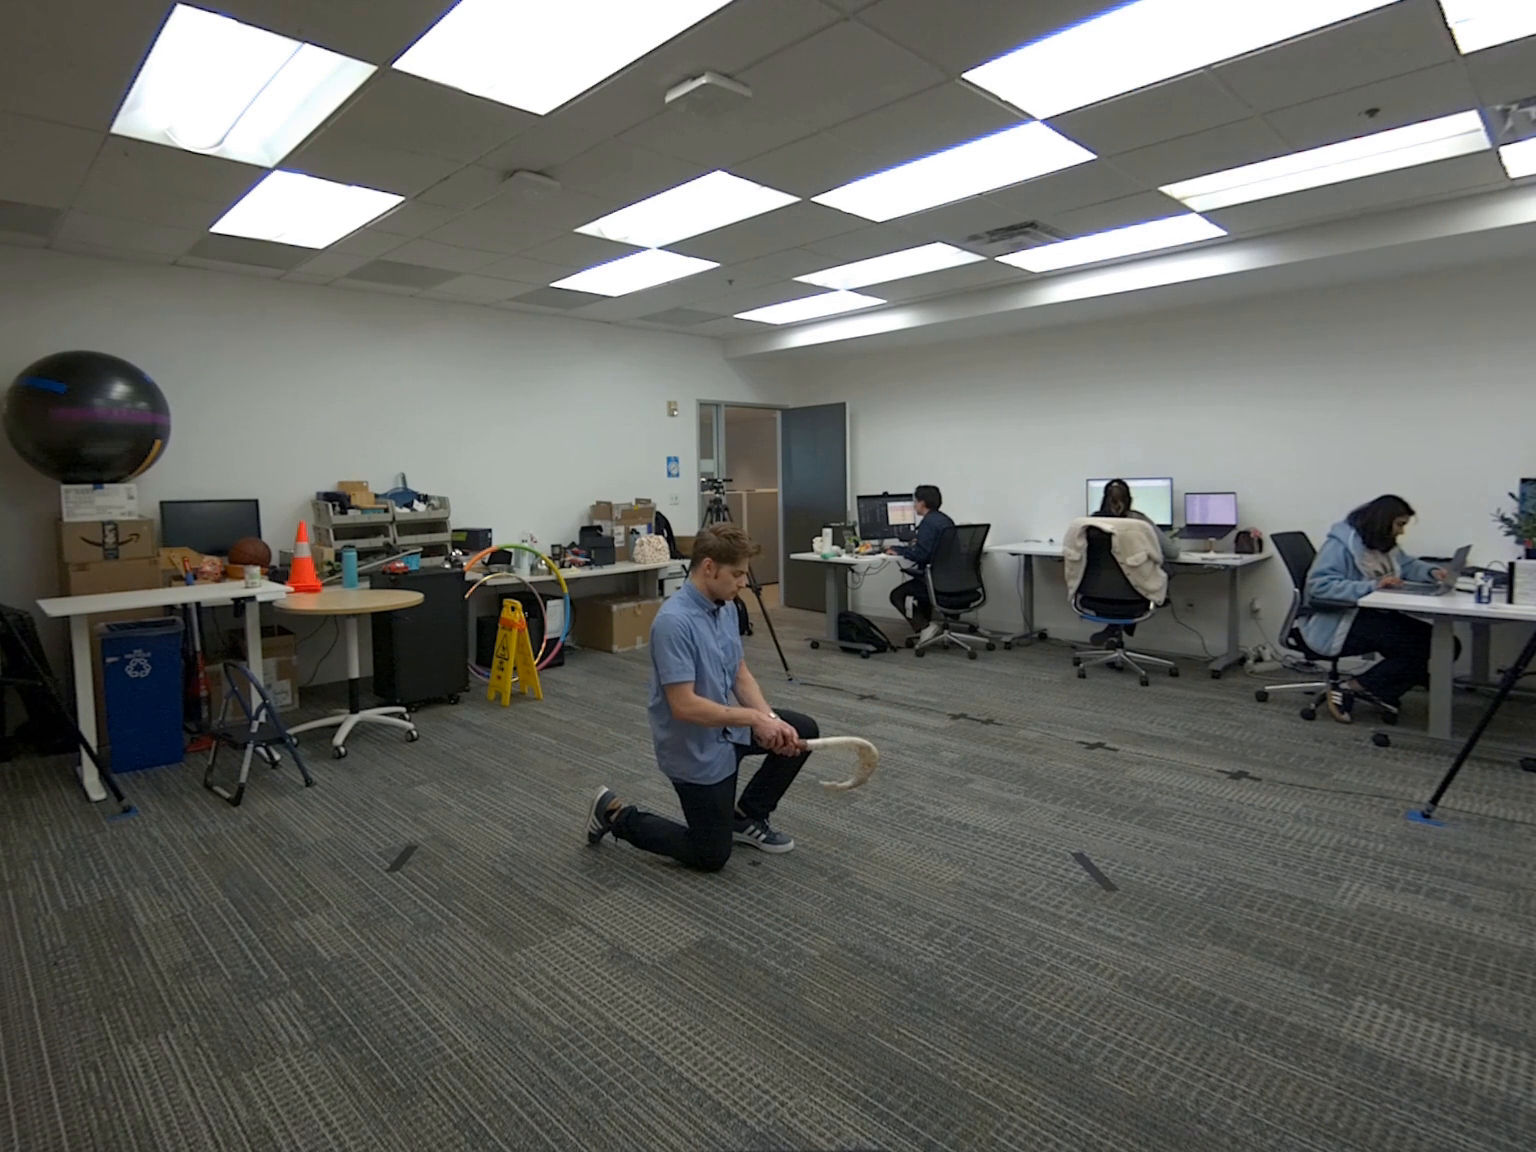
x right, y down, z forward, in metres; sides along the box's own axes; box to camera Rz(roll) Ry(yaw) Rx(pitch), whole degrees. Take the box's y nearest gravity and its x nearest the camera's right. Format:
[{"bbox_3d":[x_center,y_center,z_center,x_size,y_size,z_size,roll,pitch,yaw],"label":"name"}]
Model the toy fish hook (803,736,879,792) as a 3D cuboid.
[{"bbox_3d":[0.163,0.629,2.999,0.497,0.224,0.049,15,4,-17],"label":"toy fish hook"}]
